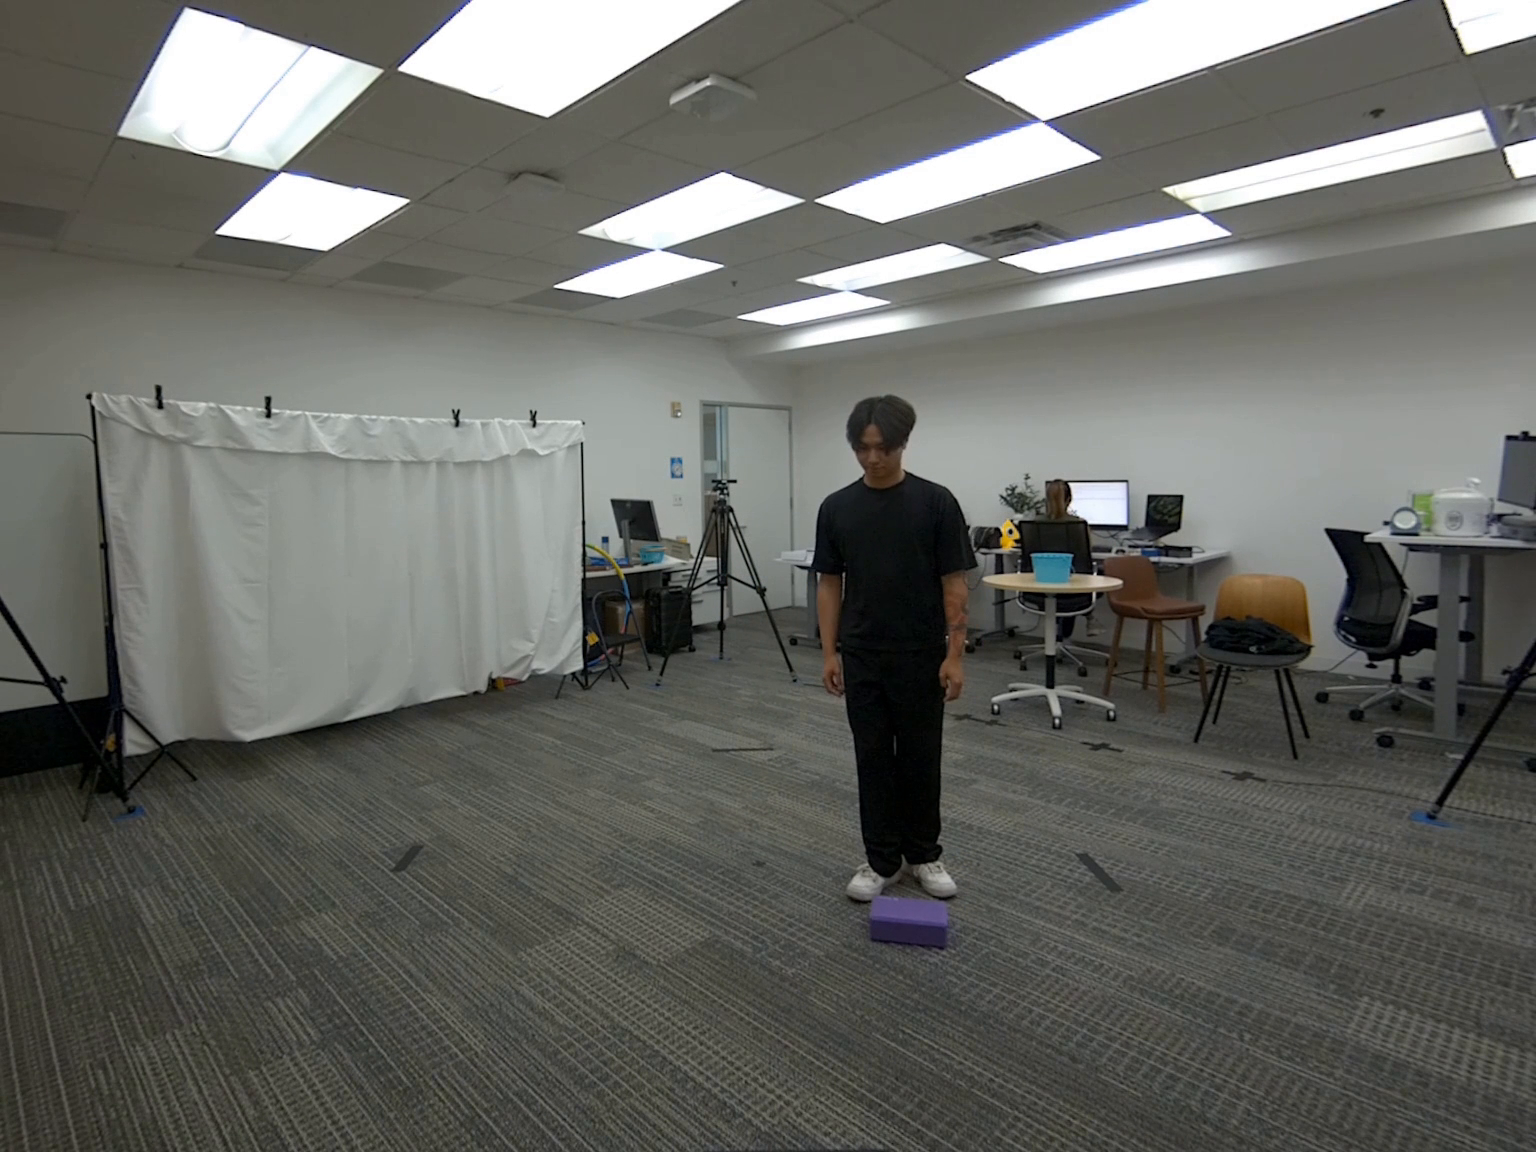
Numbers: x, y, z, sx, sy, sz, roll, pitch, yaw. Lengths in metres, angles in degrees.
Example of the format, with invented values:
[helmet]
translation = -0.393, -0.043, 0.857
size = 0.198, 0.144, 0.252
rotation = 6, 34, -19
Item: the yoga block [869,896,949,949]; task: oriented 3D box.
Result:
[yoga block]
translation = 0.437, 1.059, 2.613
size = 0.232, 0.076, 0.148
rotation = -2, 5, 13
